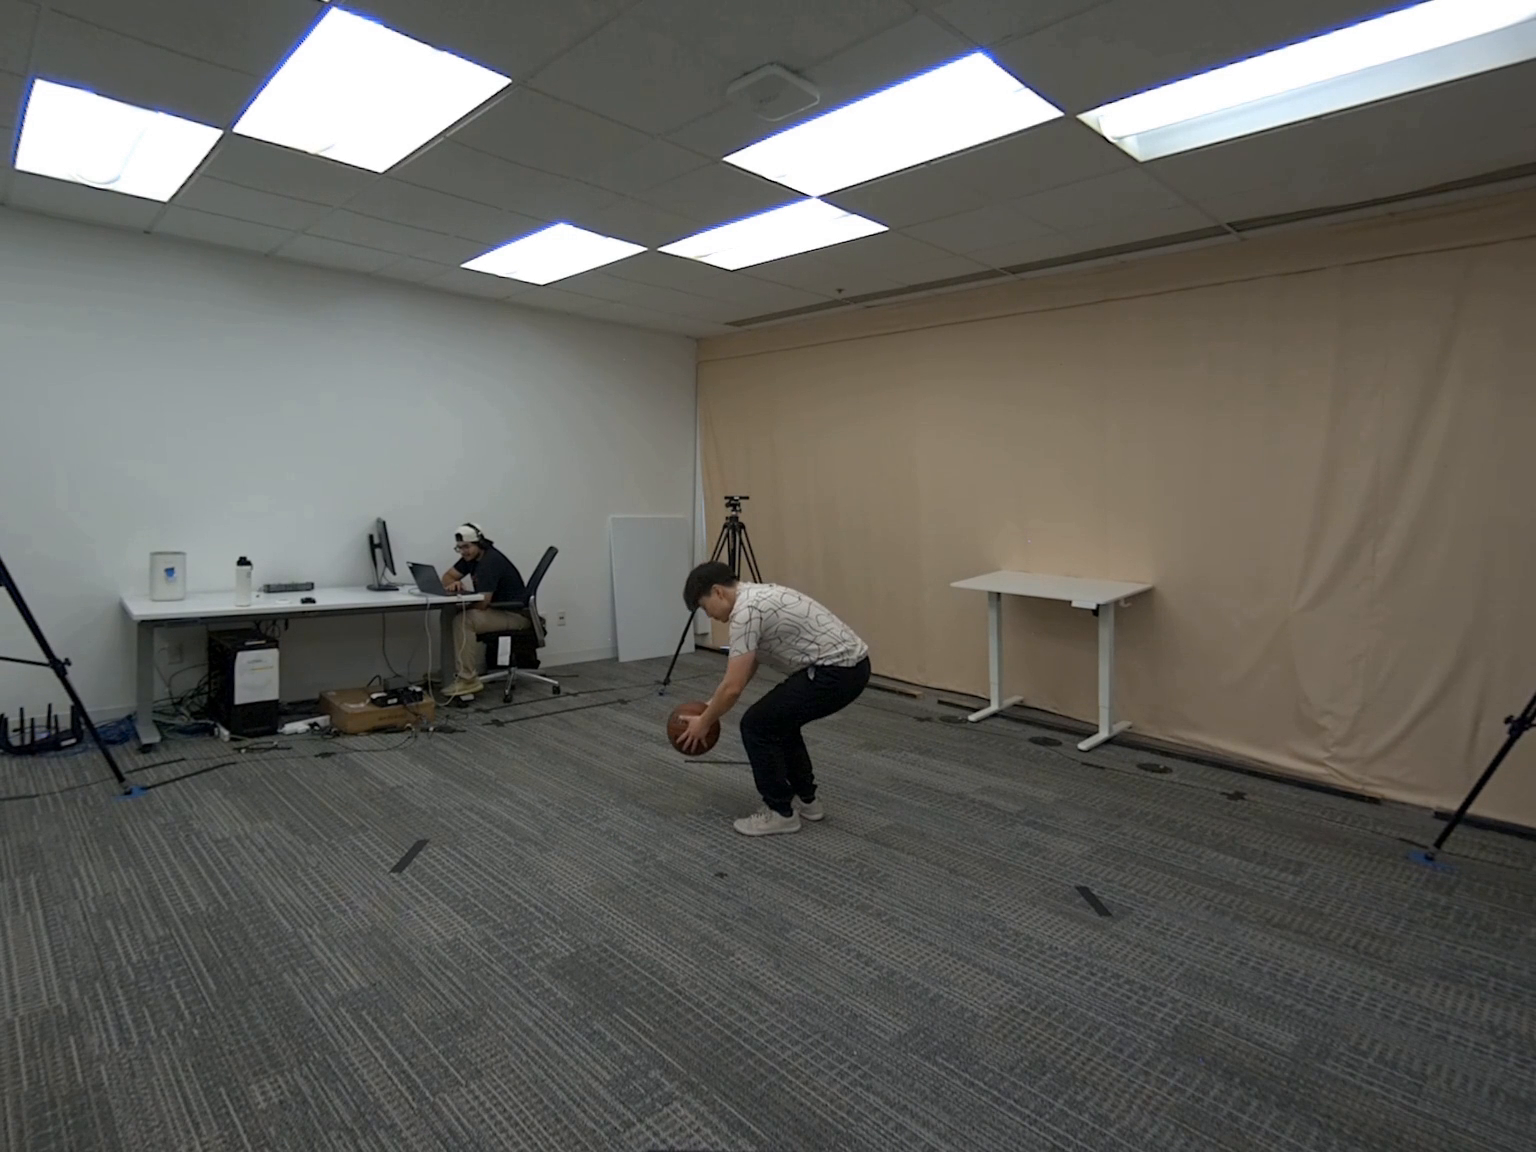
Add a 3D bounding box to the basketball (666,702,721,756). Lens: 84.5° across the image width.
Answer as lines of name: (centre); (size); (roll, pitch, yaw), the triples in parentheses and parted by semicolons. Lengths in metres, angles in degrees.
basketball: (-0.329, 0.670, 3.724); (0.236, 0.235, 0.237); (1, 4, -1)
